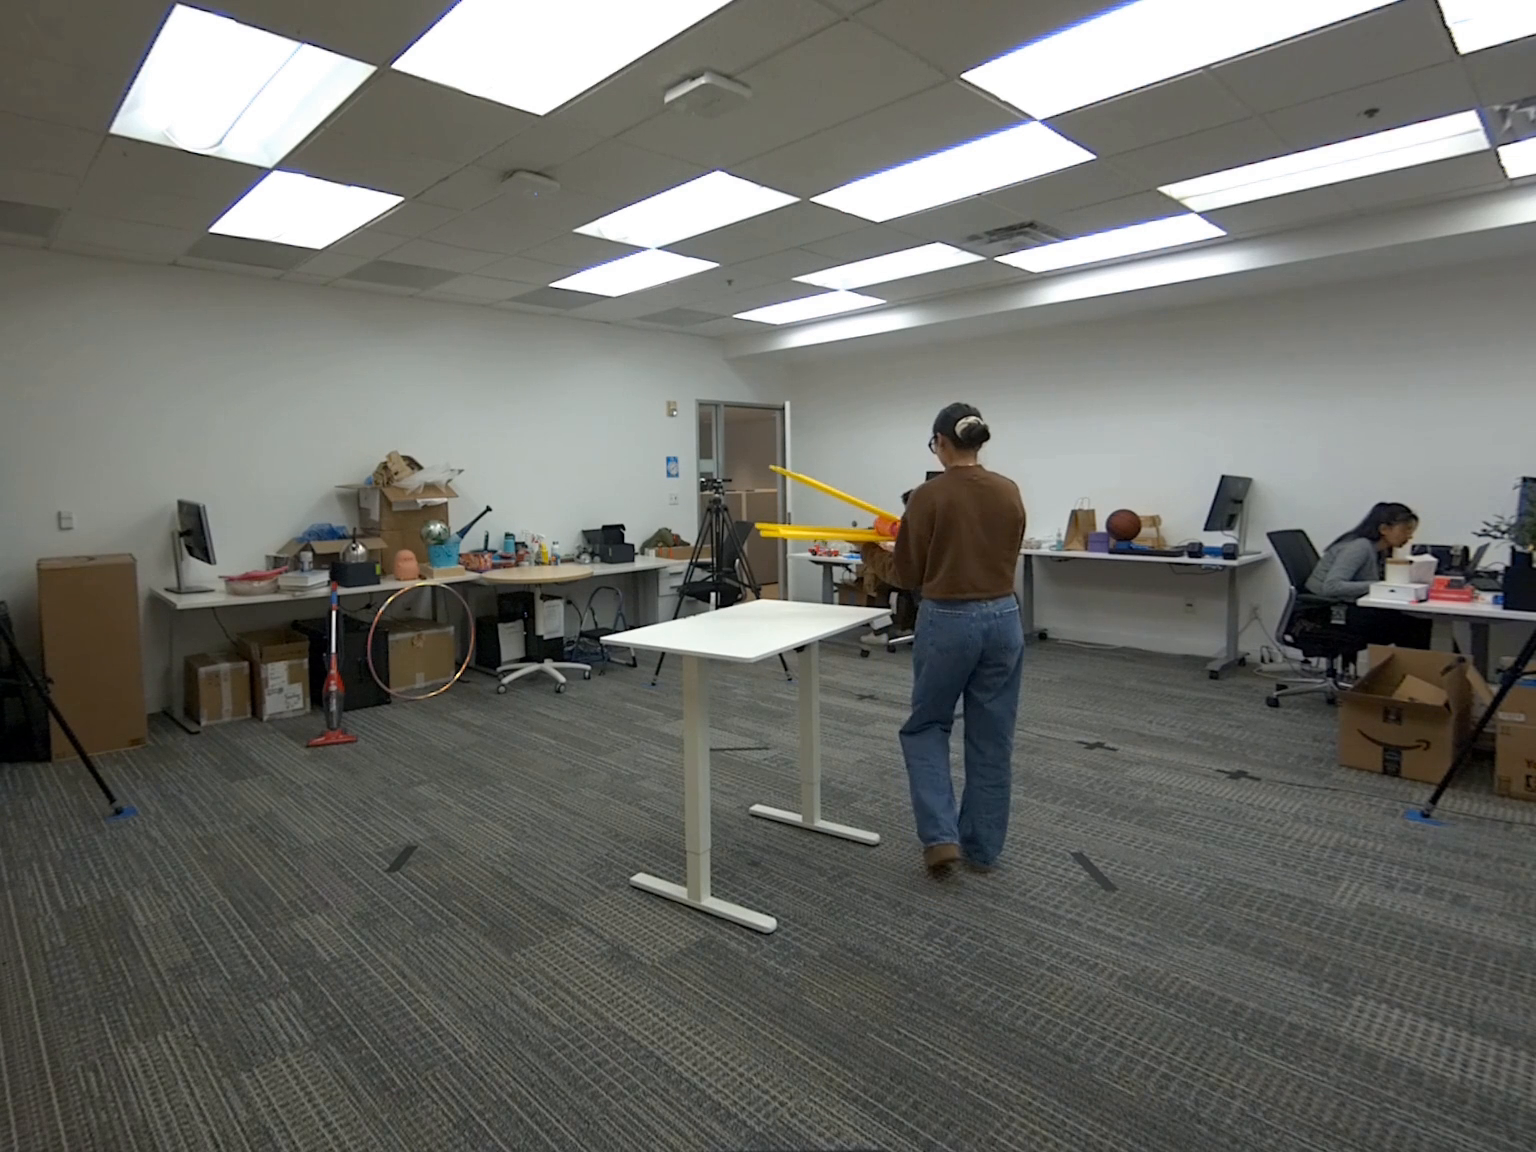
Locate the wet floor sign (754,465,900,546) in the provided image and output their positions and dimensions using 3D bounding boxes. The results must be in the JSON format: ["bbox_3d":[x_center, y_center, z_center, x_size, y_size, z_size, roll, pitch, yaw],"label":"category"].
[{"bbox_3d":[0.307,-0.218,3.250,0.641,0.288,0.286,10,7,-7],"label":"wet floor sign"}]
